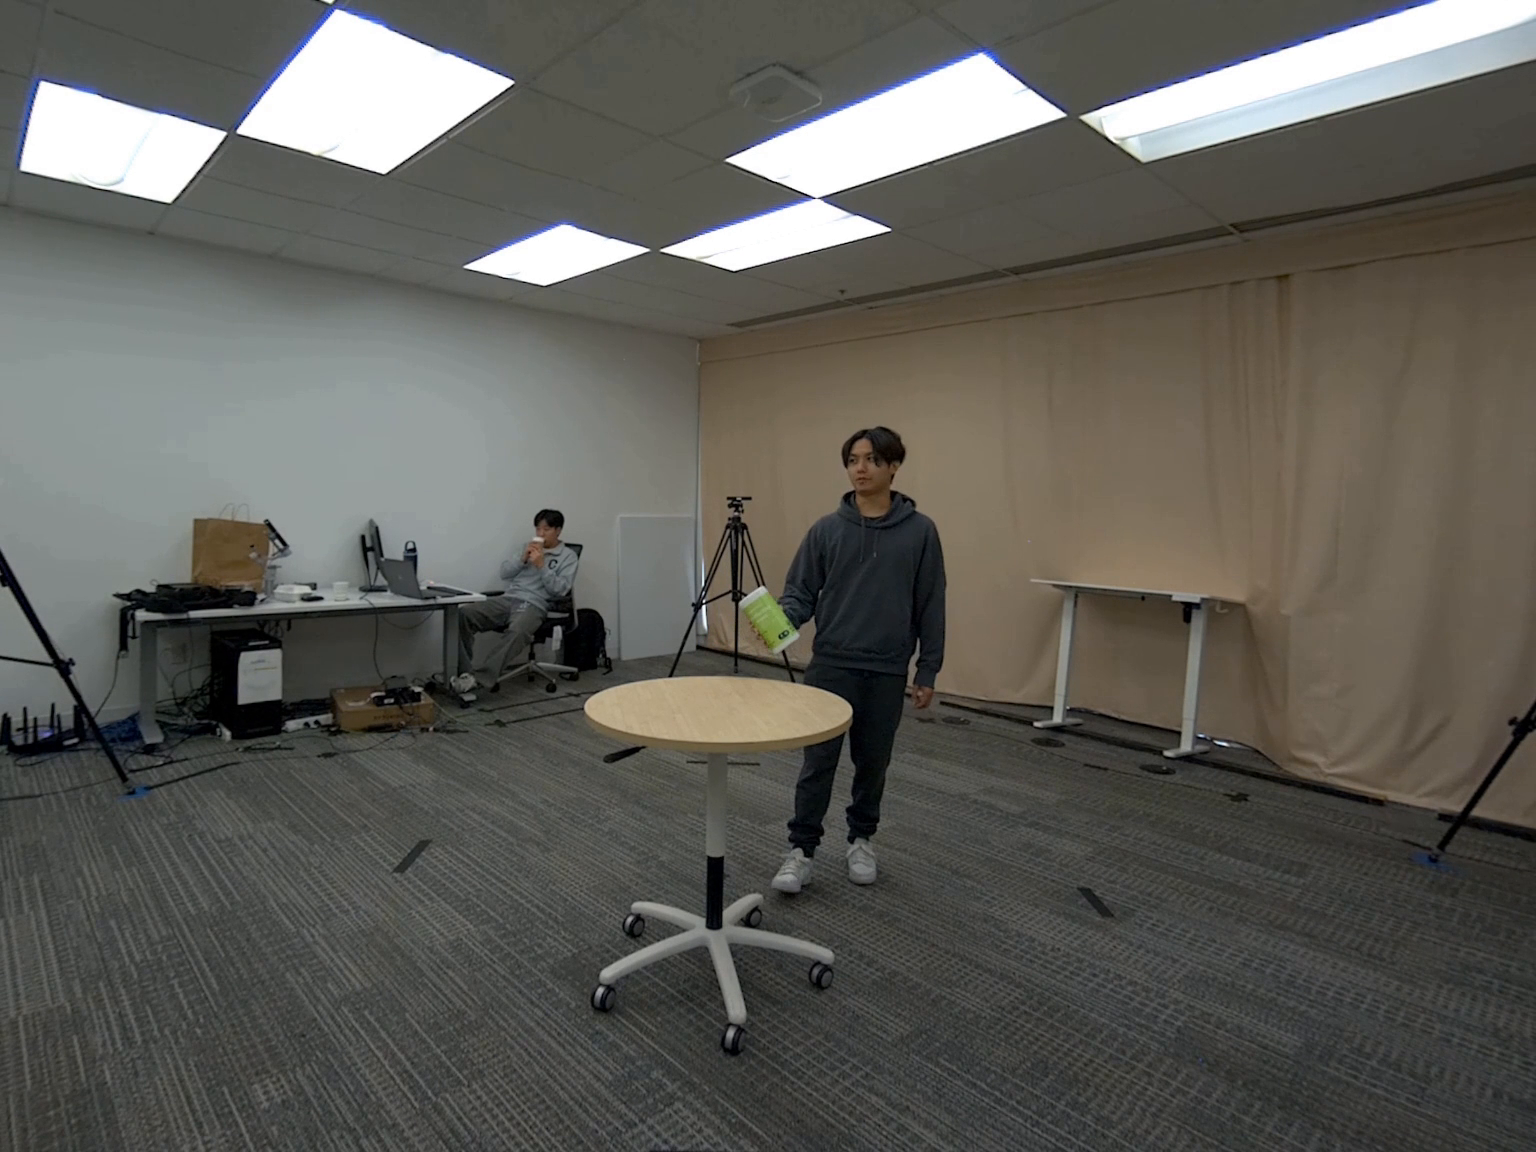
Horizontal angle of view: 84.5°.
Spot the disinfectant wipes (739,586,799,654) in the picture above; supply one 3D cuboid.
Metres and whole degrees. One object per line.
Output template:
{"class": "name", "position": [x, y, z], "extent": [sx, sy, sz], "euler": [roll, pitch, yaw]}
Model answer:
{"class": "disinfectant wipes", "position": [-0.007, 0.149, 2.829], "extent": [0.117, 0.219, 0.117], "euler": [-35, -6, -5]}
